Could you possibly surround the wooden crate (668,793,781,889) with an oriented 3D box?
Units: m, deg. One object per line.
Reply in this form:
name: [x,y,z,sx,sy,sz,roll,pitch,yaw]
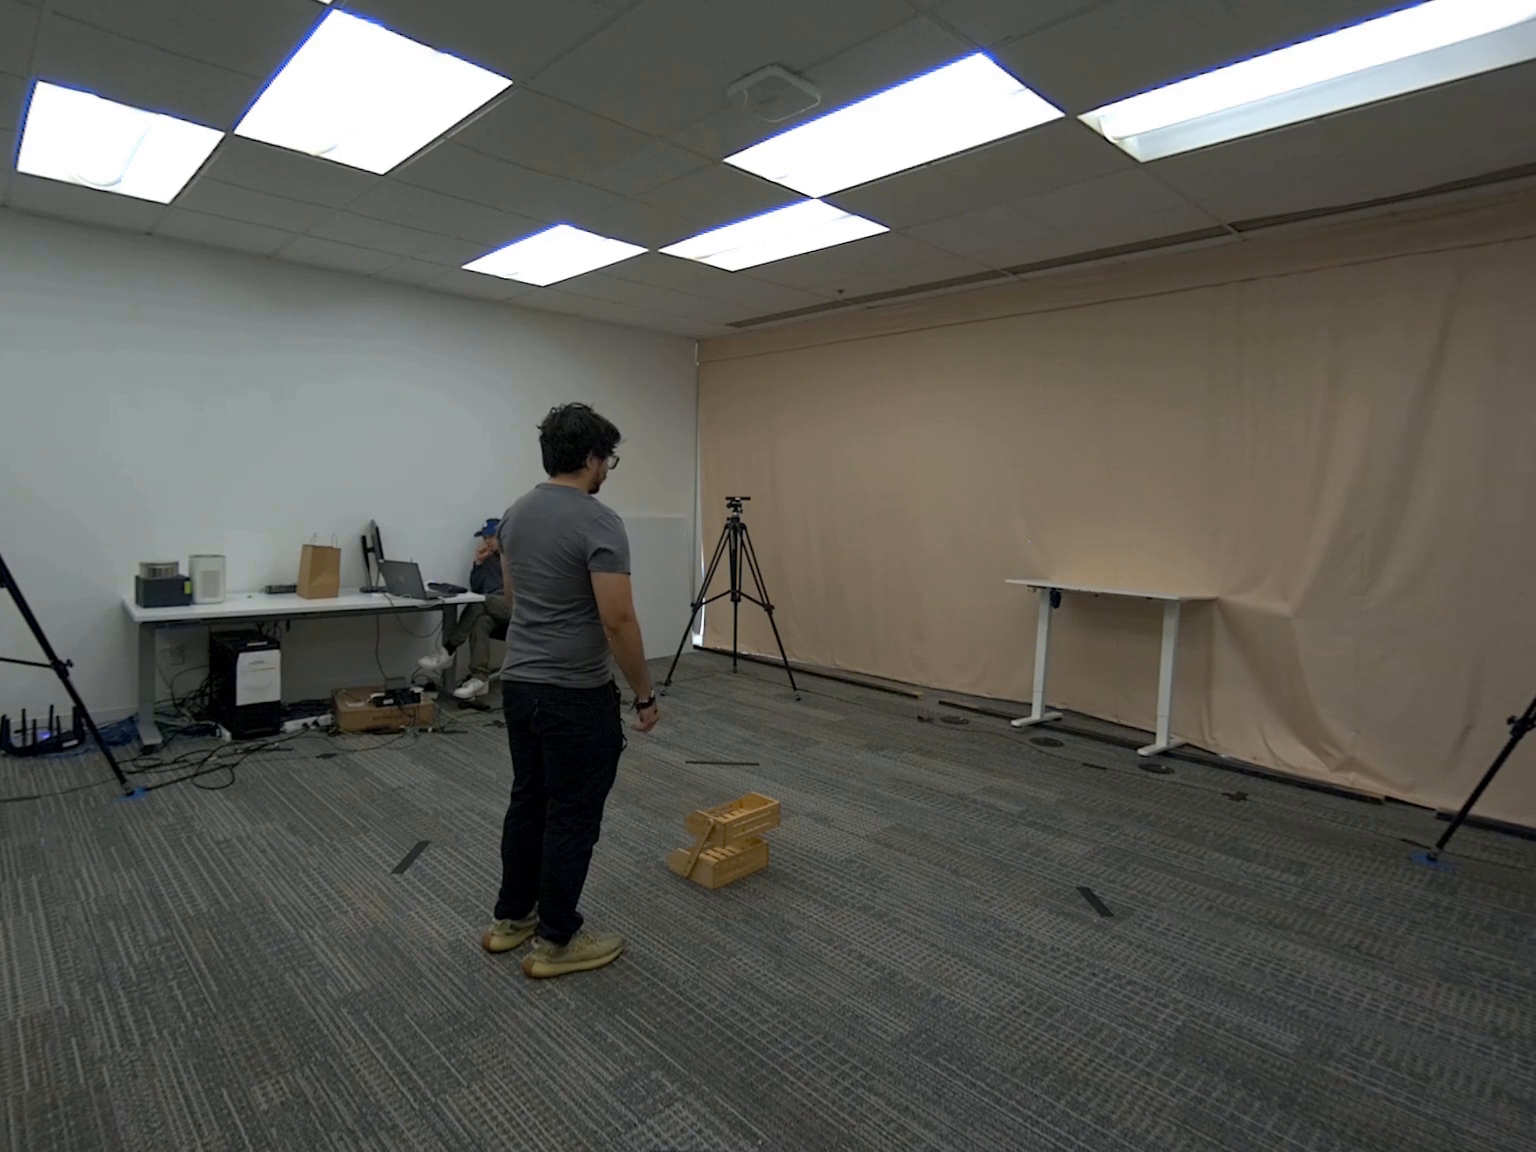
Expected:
wooden crate: [-0.176,0.968,3.155,0.310,0.272,0.317,6,6,42]
